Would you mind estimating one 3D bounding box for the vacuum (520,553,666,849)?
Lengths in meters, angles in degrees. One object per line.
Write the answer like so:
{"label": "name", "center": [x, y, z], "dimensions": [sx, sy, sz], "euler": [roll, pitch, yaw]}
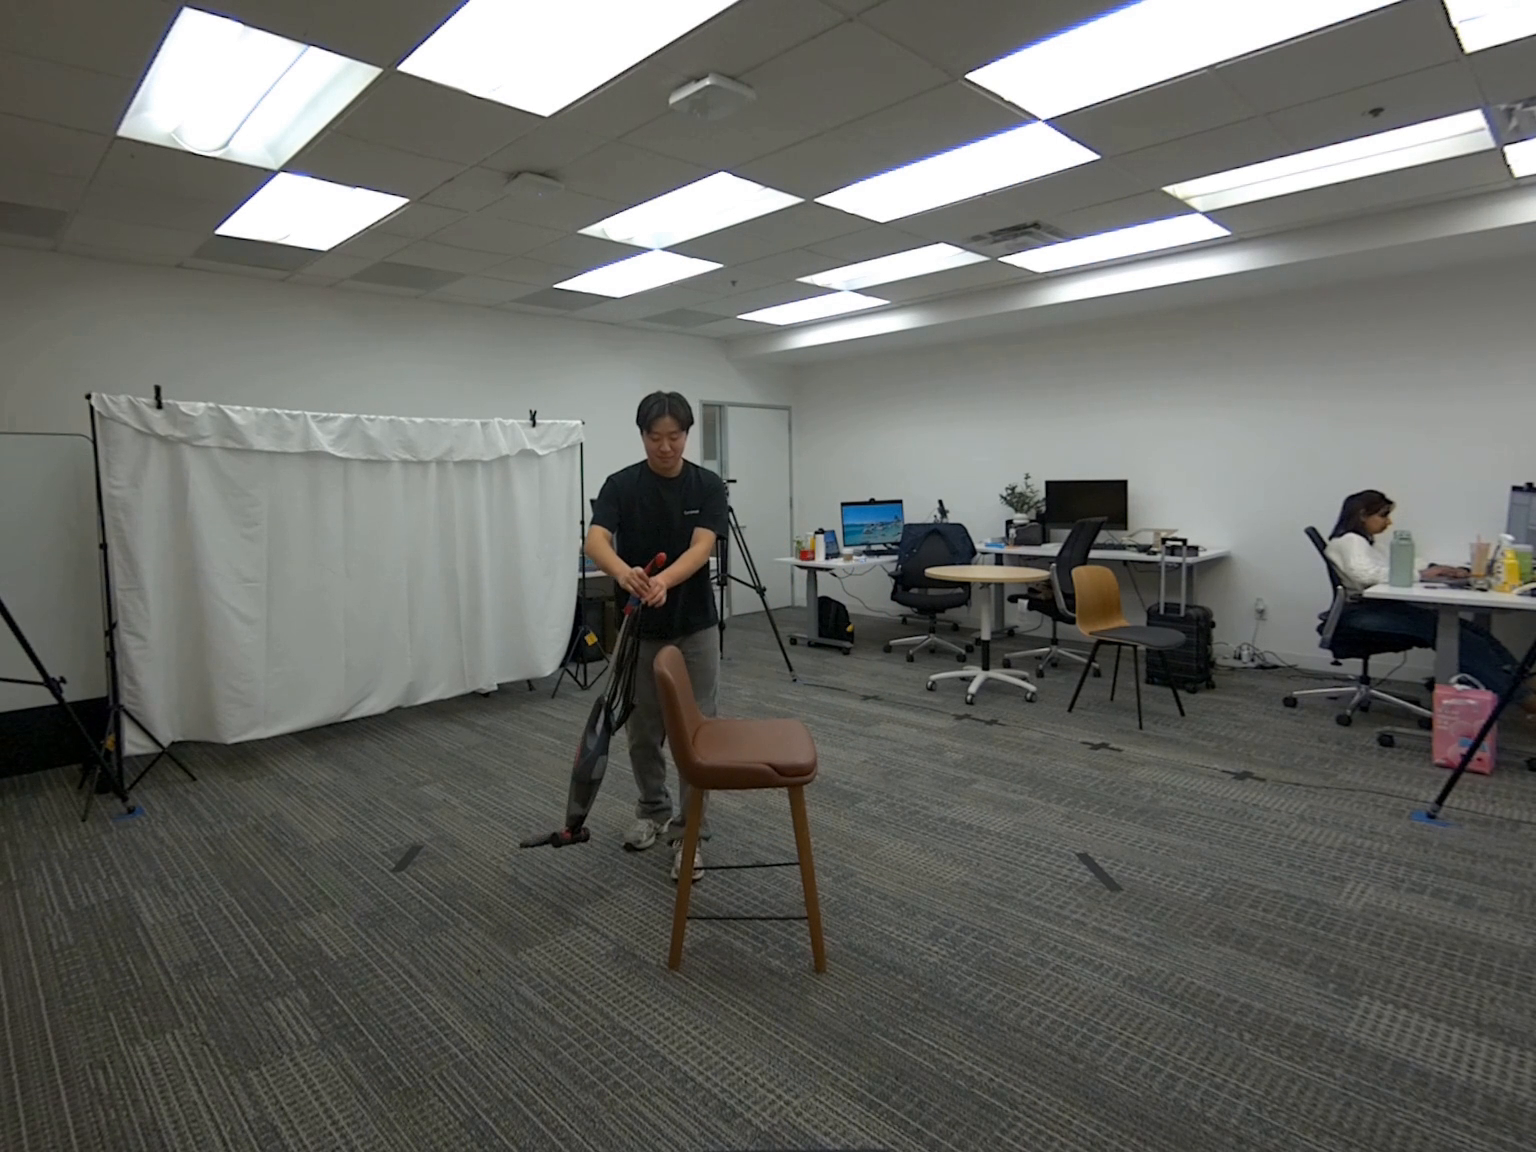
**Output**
{"label": "vacuum", "center": [-0.526, 0.428, 2.820], "dimensions": [0.244, 1.044, 0.149], "euler": [10, 12, -42]}
